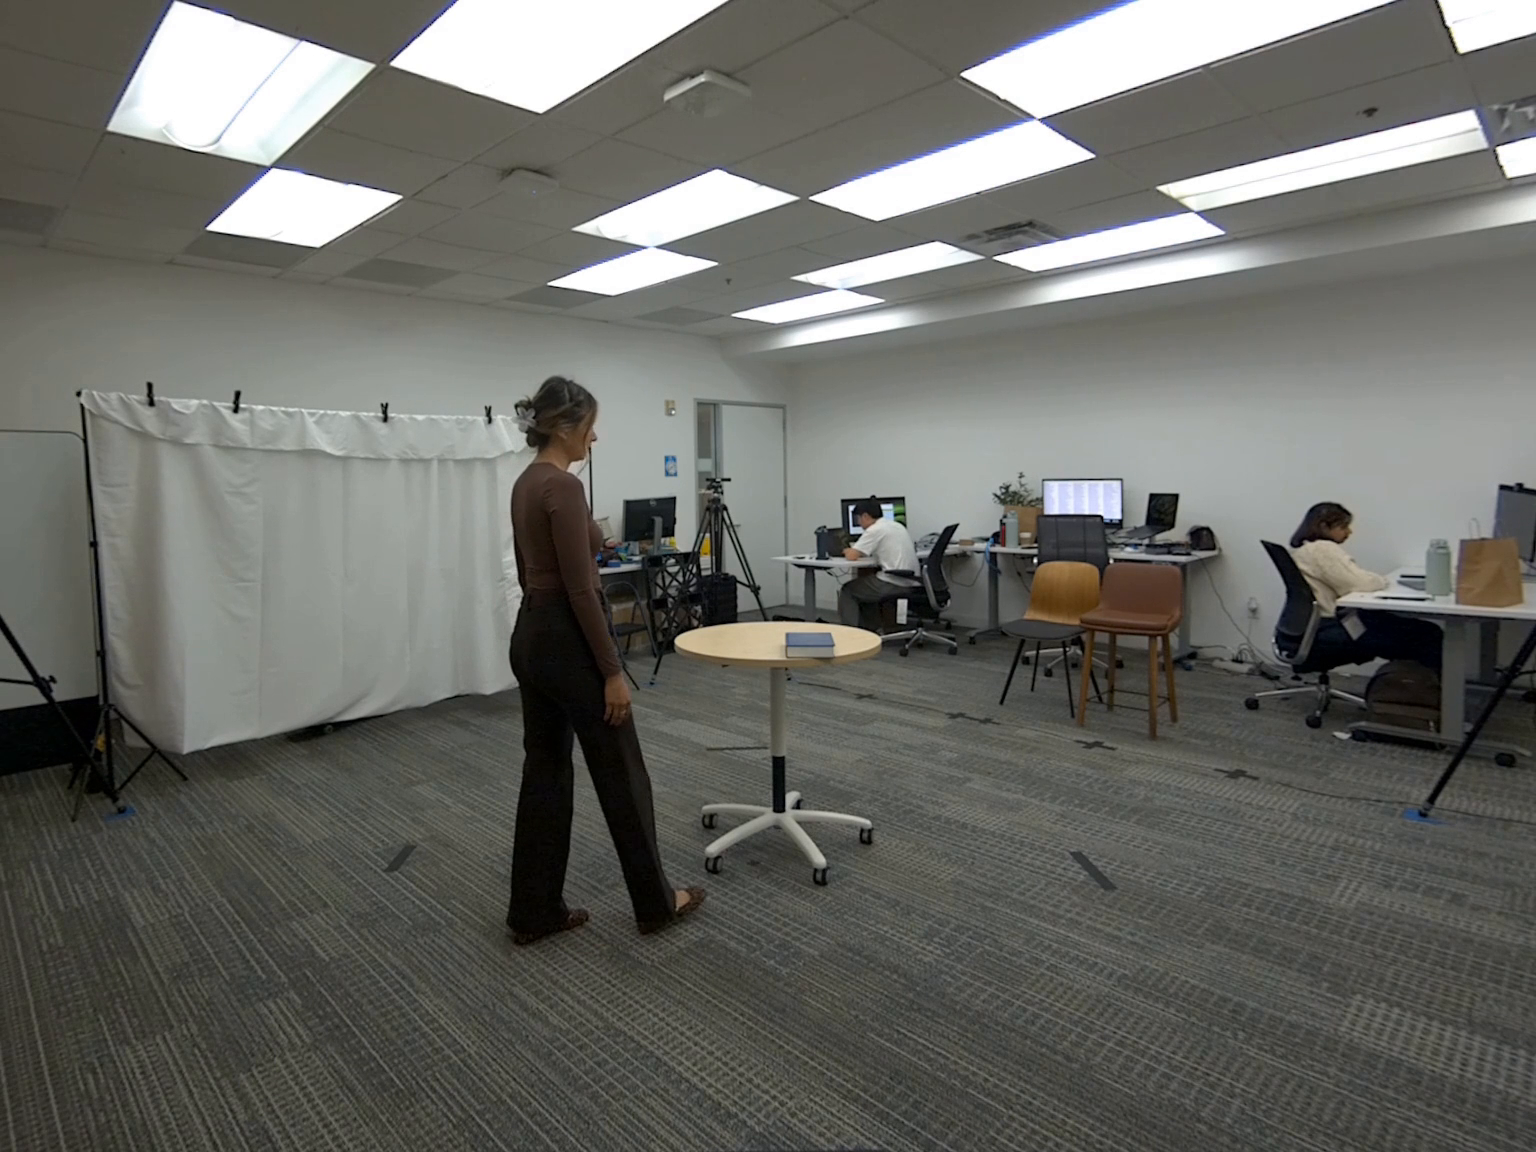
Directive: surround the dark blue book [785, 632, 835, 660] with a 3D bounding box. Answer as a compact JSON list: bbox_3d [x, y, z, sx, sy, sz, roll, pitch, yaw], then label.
[{"bbox_3d":[0.150,0.238,2.945,0.164,0.045,0.245,-1,6,2],"label":"dark blue book"}]
